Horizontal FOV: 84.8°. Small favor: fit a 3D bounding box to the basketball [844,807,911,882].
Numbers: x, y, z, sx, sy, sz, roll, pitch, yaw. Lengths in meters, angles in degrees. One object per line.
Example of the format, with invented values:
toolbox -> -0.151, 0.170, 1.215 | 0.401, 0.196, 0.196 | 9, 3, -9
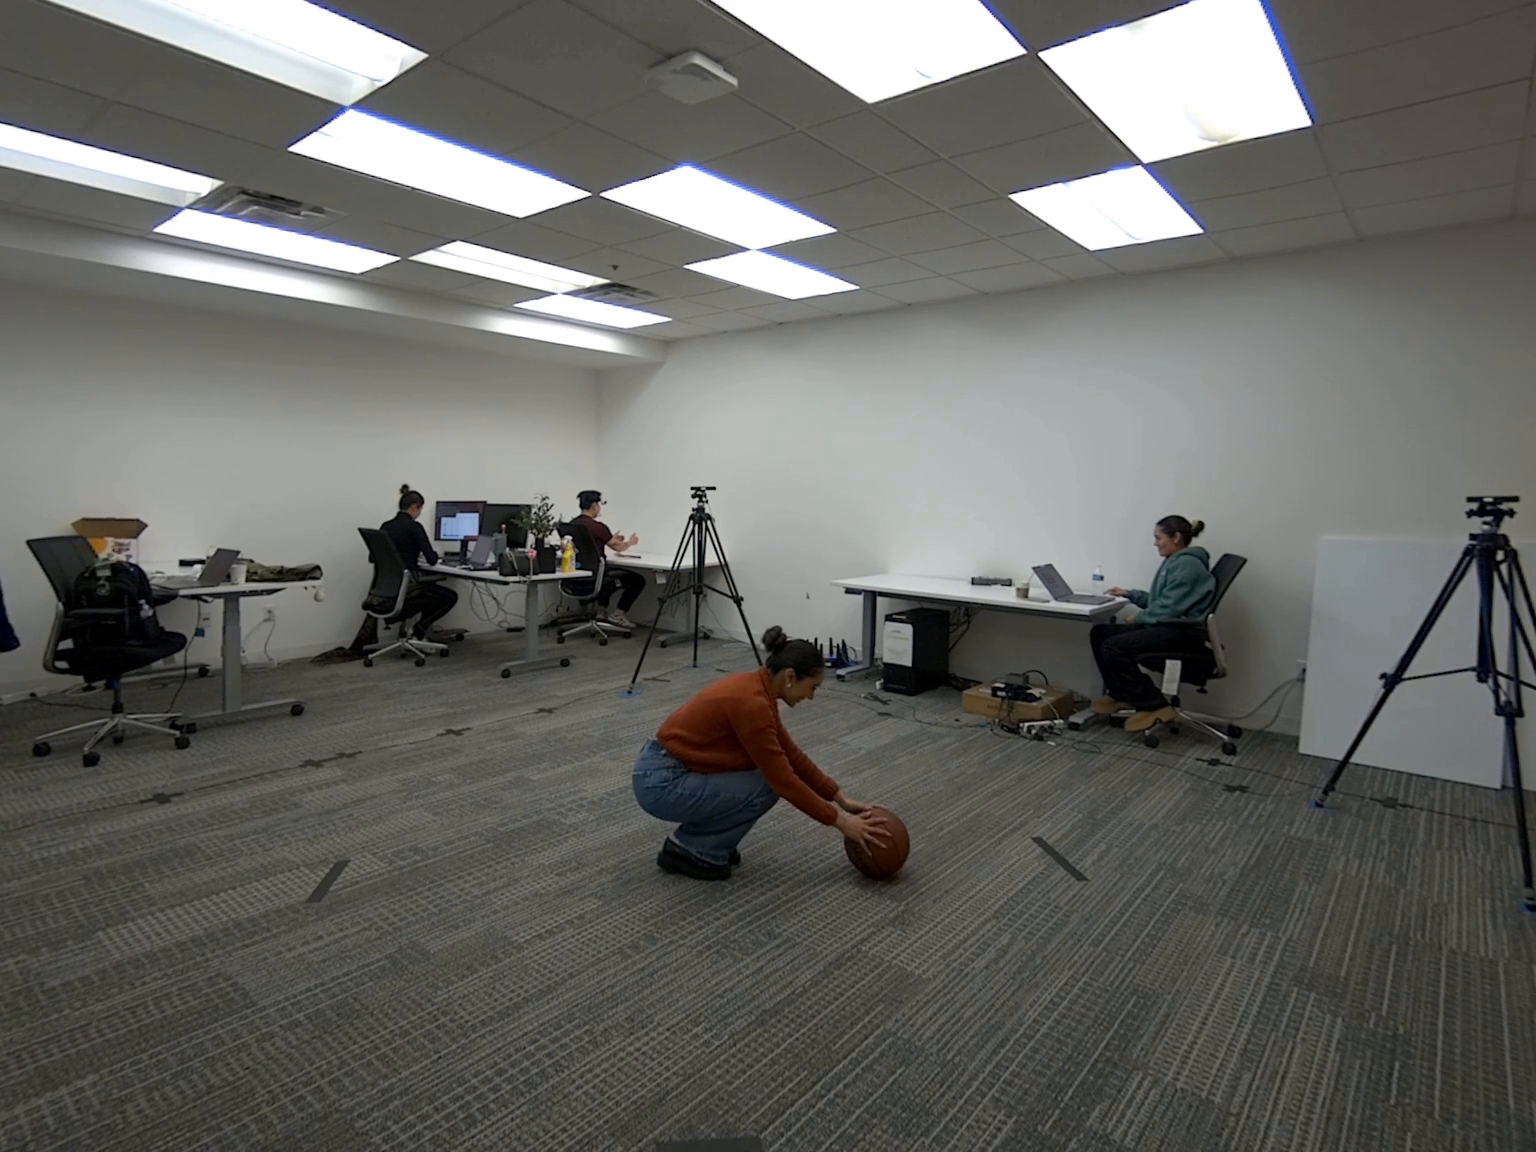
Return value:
basketball -> 0.388, 0.962, 3.088 | 0.236, 0.235, 0.237 | 1, 4, -2
